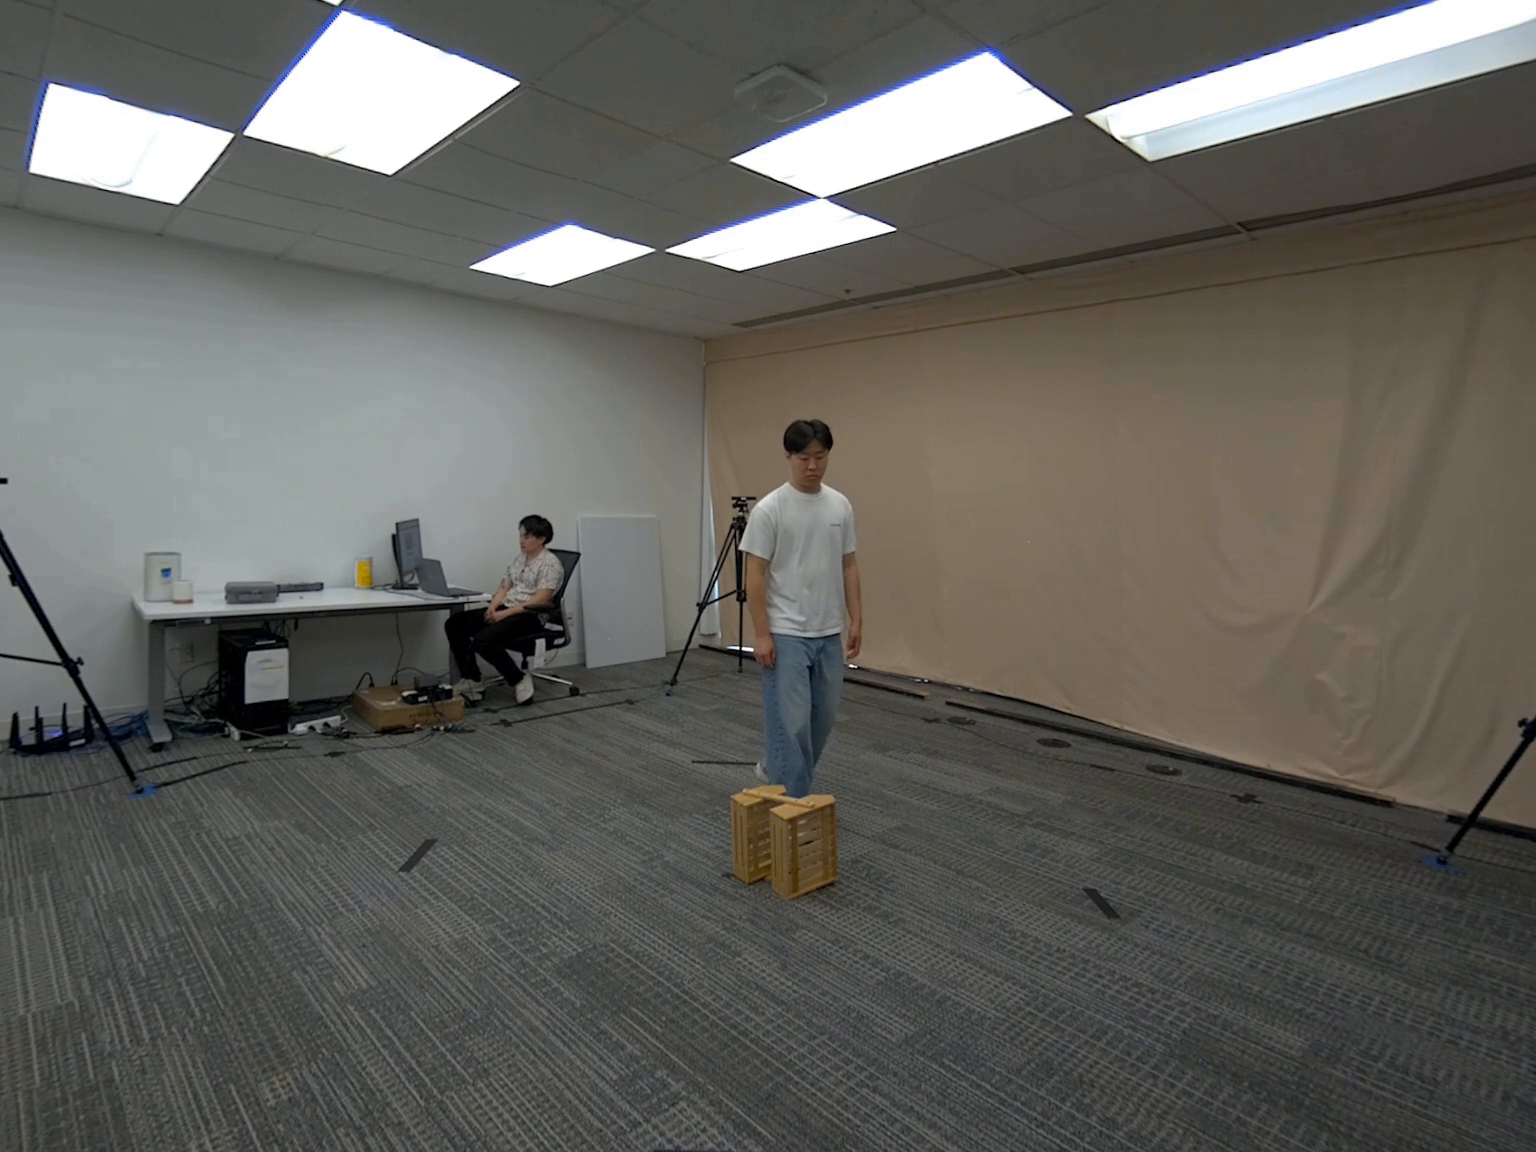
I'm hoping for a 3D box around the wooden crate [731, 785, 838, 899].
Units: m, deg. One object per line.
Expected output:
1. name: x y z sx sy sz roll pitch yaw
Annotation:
1. wooden crate: 0.050 0.949 3.058 0.296 0.322 0.280 -8 12 -34
